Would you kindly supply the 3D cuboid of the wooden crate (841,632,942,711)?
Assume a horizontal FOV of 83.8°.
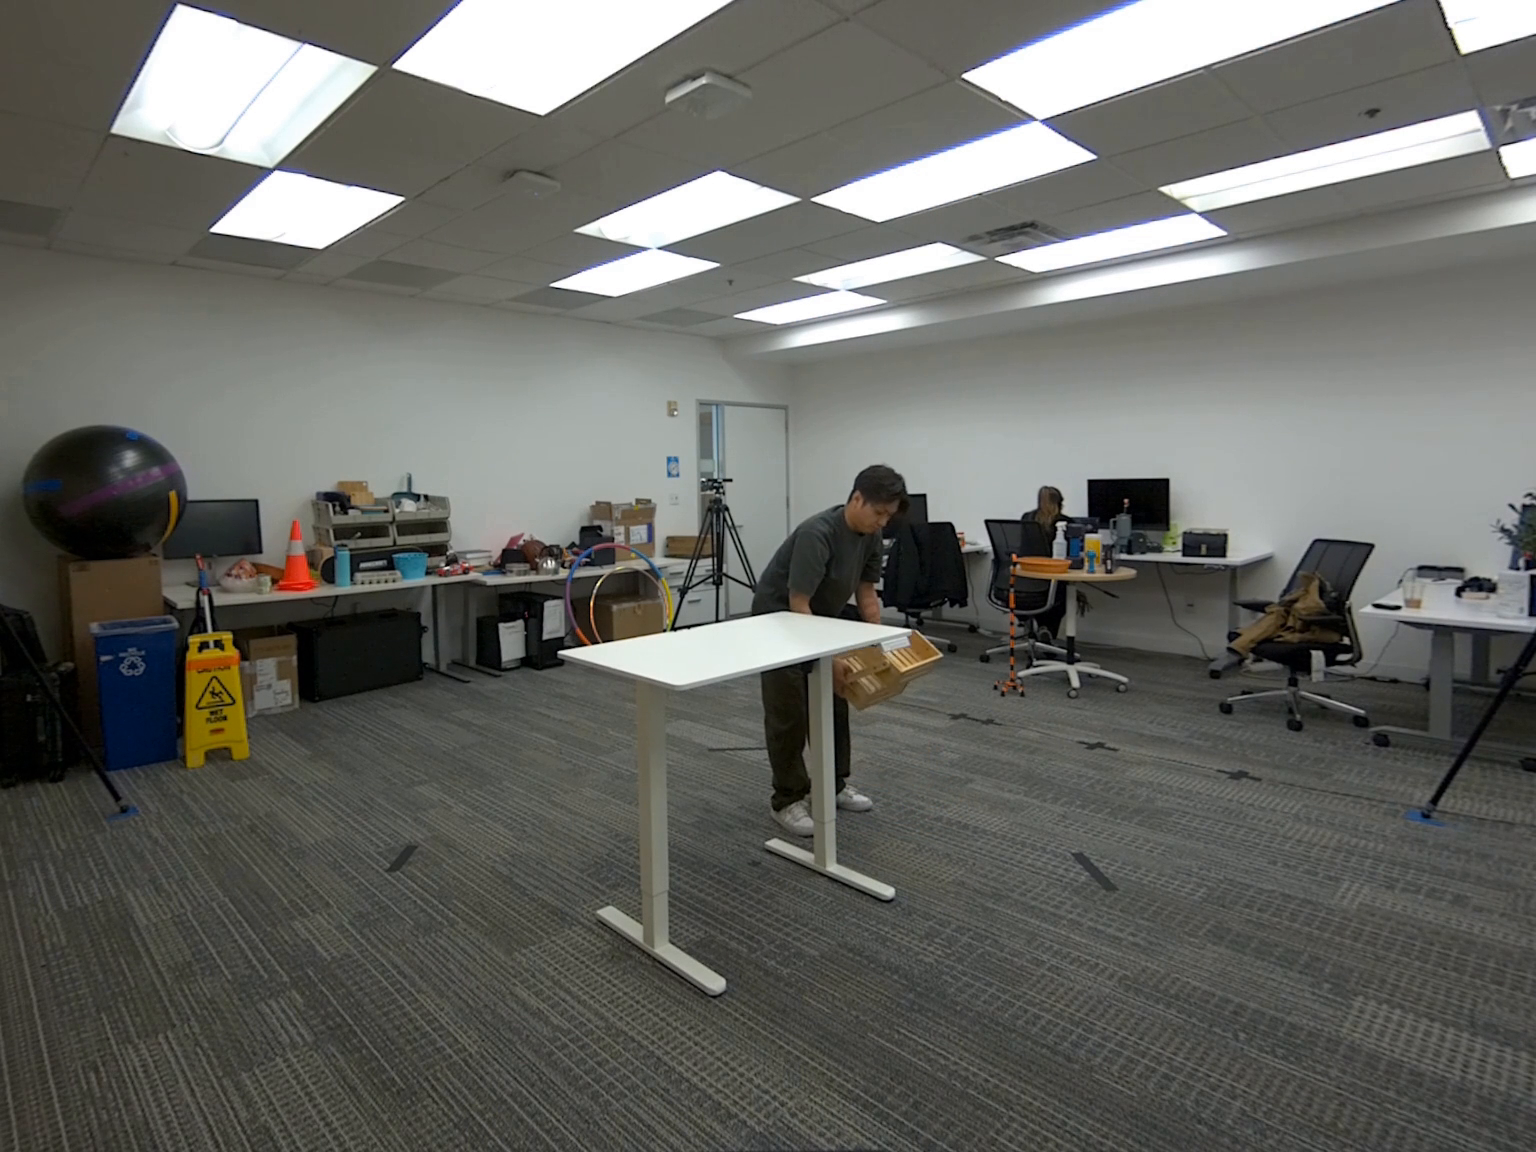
[{"bbox_3d":[0.438,0.330,3.321,0.316,0.271,0.312,-10,46,-48],"label":"wooden crate"}]
